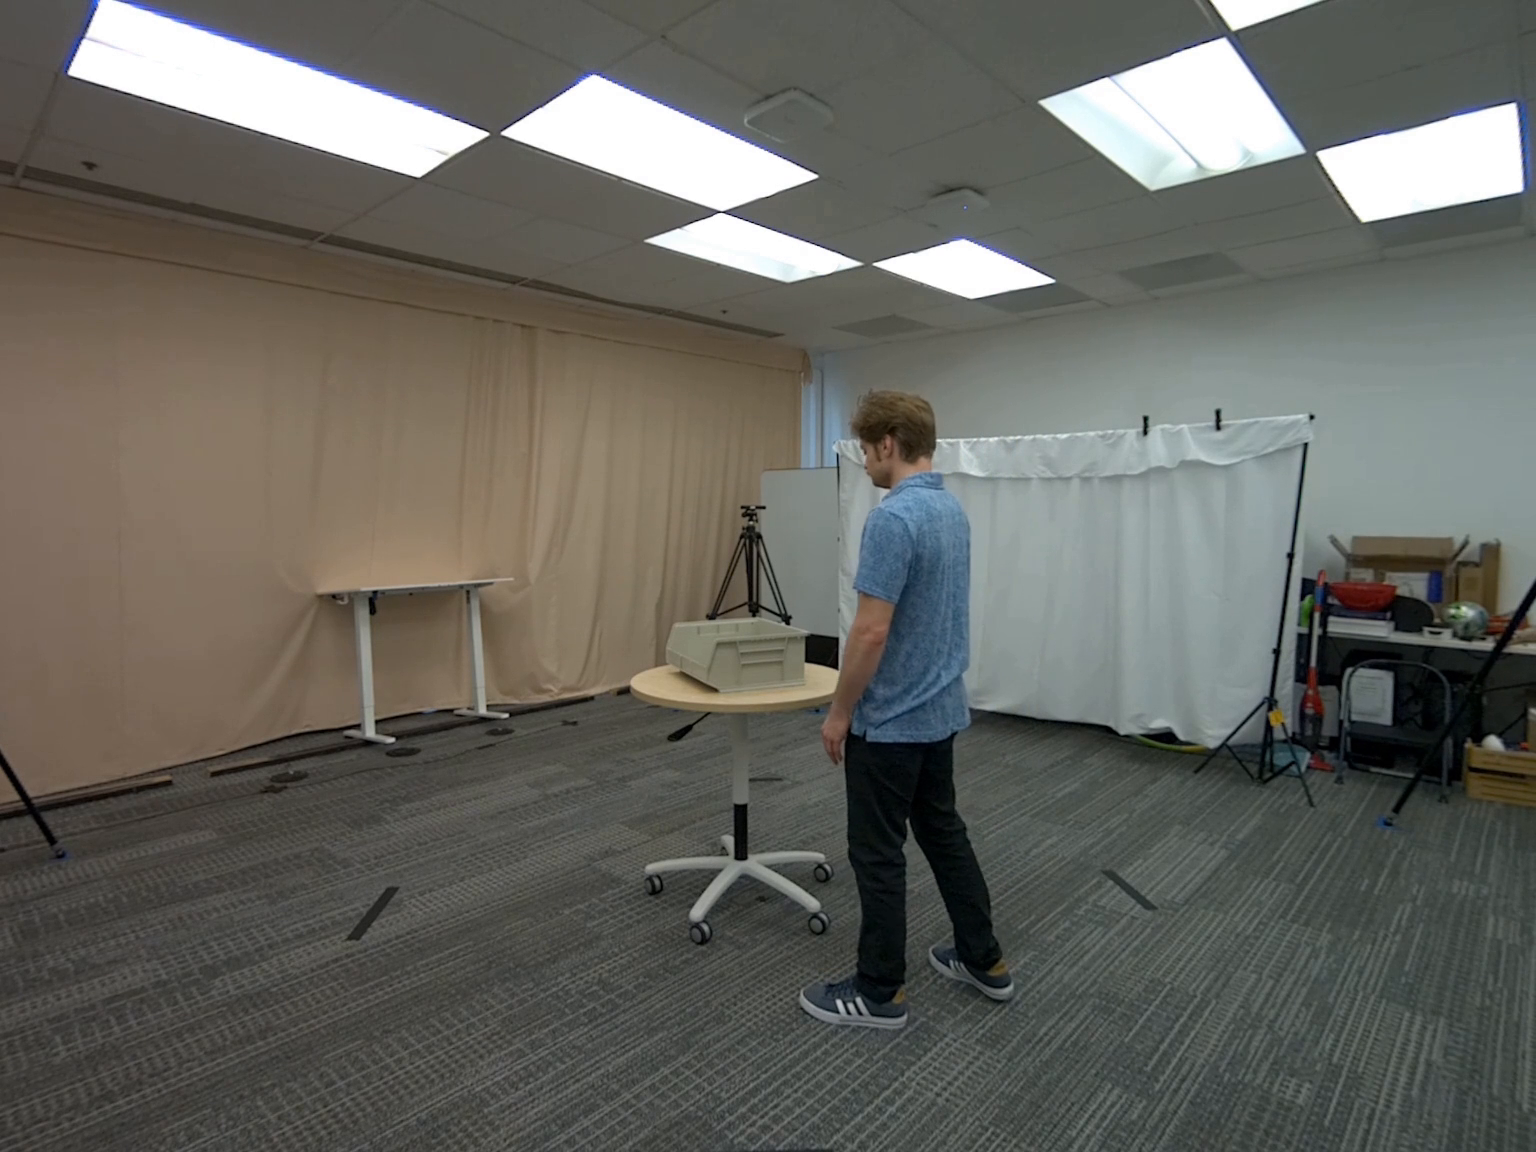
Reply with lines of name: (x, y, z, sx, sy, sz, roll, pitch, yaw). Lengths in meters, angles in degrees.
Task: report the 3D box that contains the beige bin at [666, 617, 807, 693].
beige bin: (-0.118, 0.273, 2.968, 0.369, 0.188, 0.432, -1, 4, -23)
